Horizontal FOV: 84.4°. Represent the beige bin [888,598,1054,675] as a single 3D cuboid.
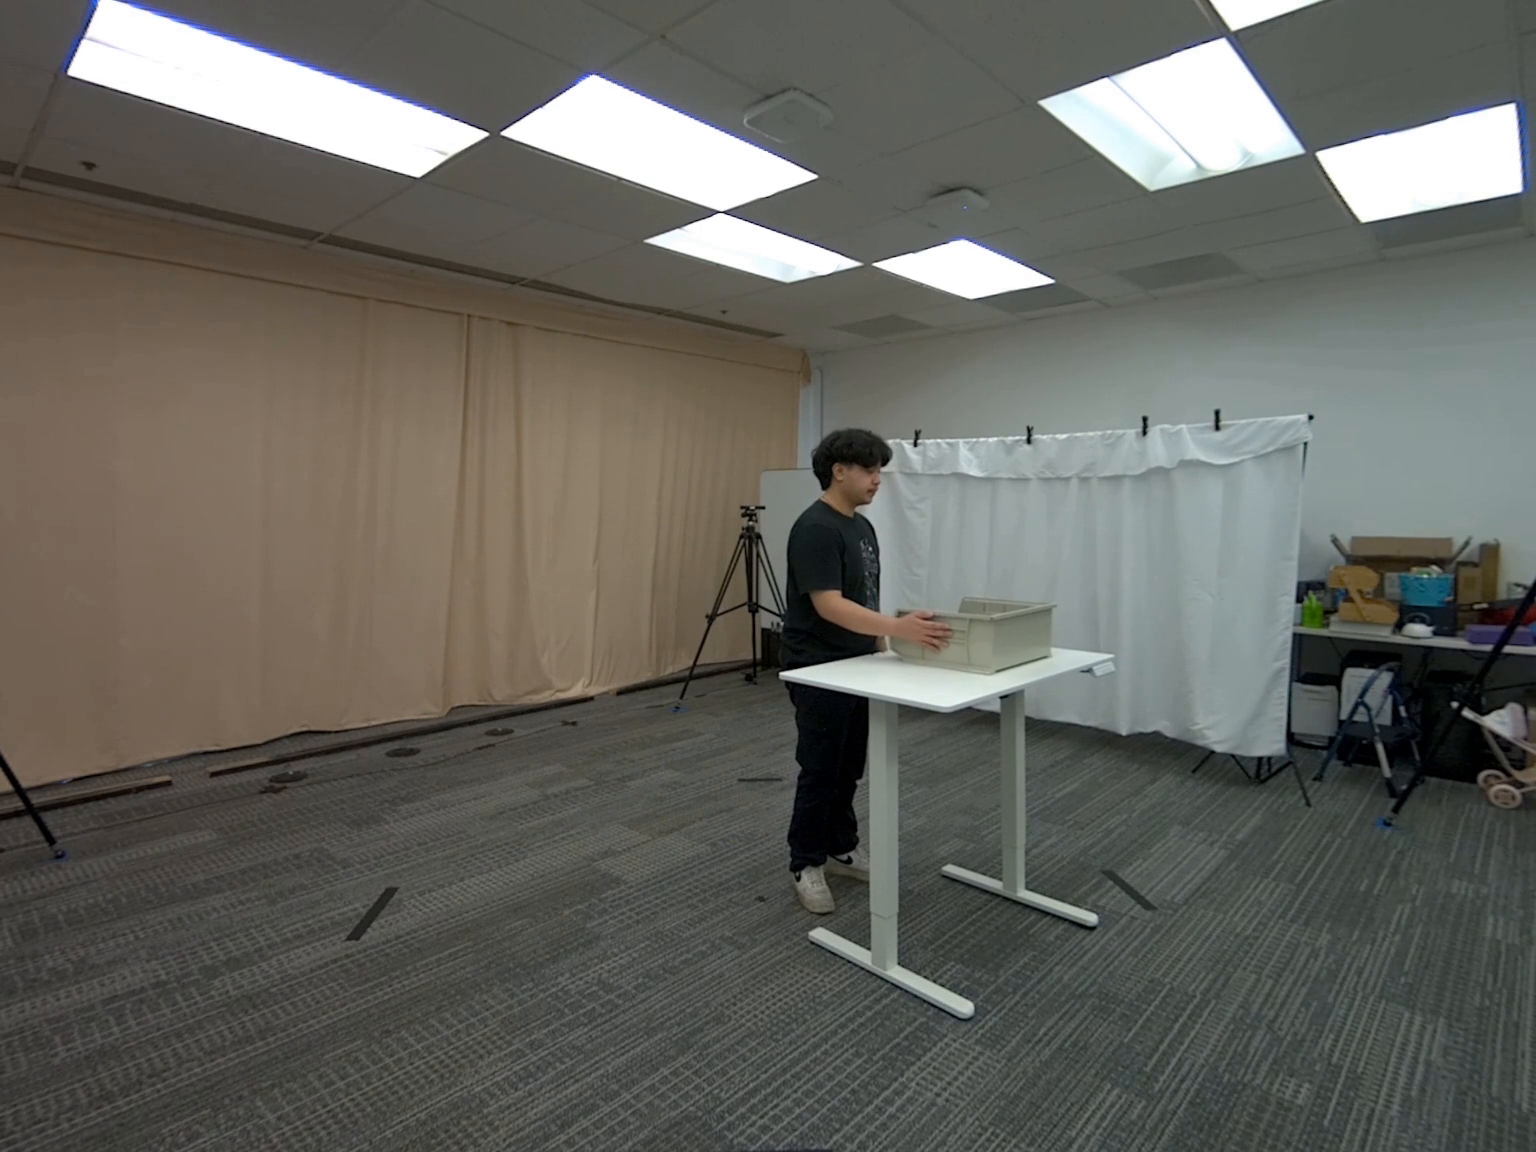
[{"bbox_3d":[0.684,0.191,2.776,0.409,0.188,0.390,-4,6,-44],"label":"beige bin"}]
